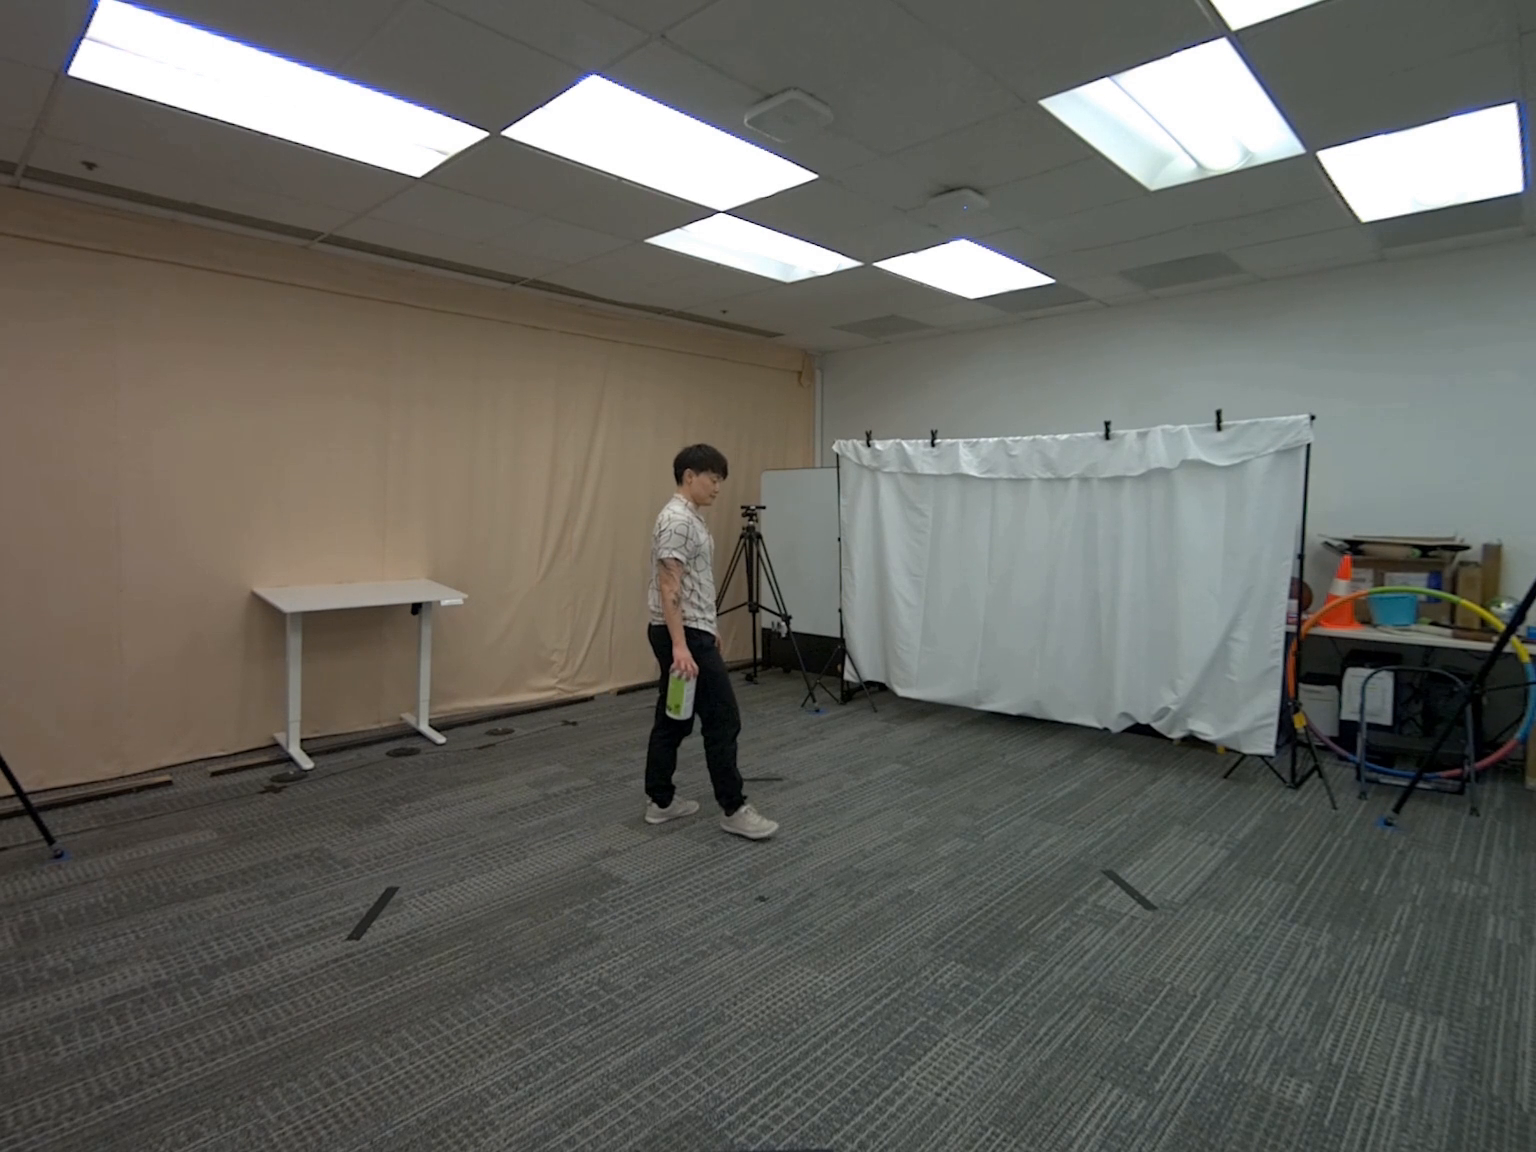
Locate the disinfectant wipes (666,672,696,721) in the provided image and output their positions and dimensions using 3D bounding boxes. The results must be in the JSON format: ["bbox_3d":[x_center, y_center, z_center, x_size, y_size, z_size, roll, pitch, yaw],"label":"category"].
[{"bbox_3d":[-0.349,0.471,3.457,0.117,0.216,0.119,6,15,-4],"label":"disinfectant wipes"}]
